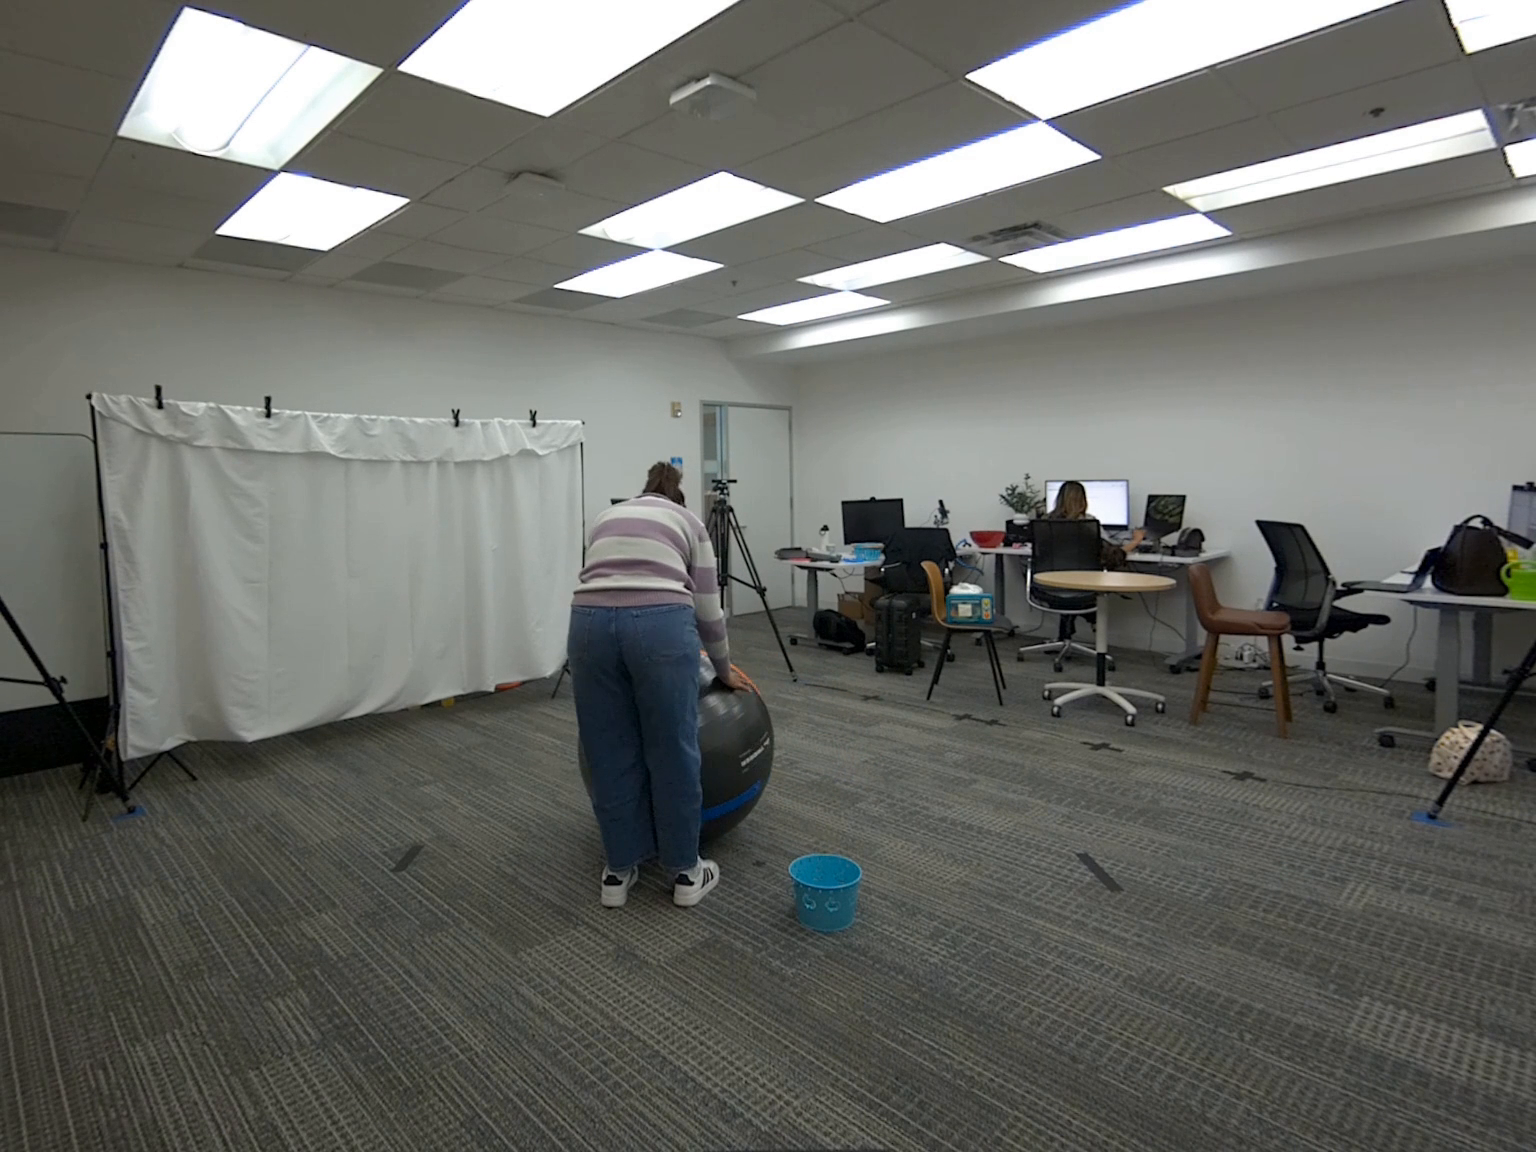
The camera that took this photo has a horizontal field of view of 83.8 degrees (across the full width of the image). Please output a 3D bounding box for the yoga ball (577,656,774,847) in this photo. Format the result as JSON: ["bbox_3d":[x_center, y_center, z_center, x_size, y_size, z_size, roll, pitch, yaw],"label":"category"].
[{"bbox_3d":[-0.359,0.662,3.320,0.757,0.755,0.762,-1,5,-2],"label":"yoga ball"}]
